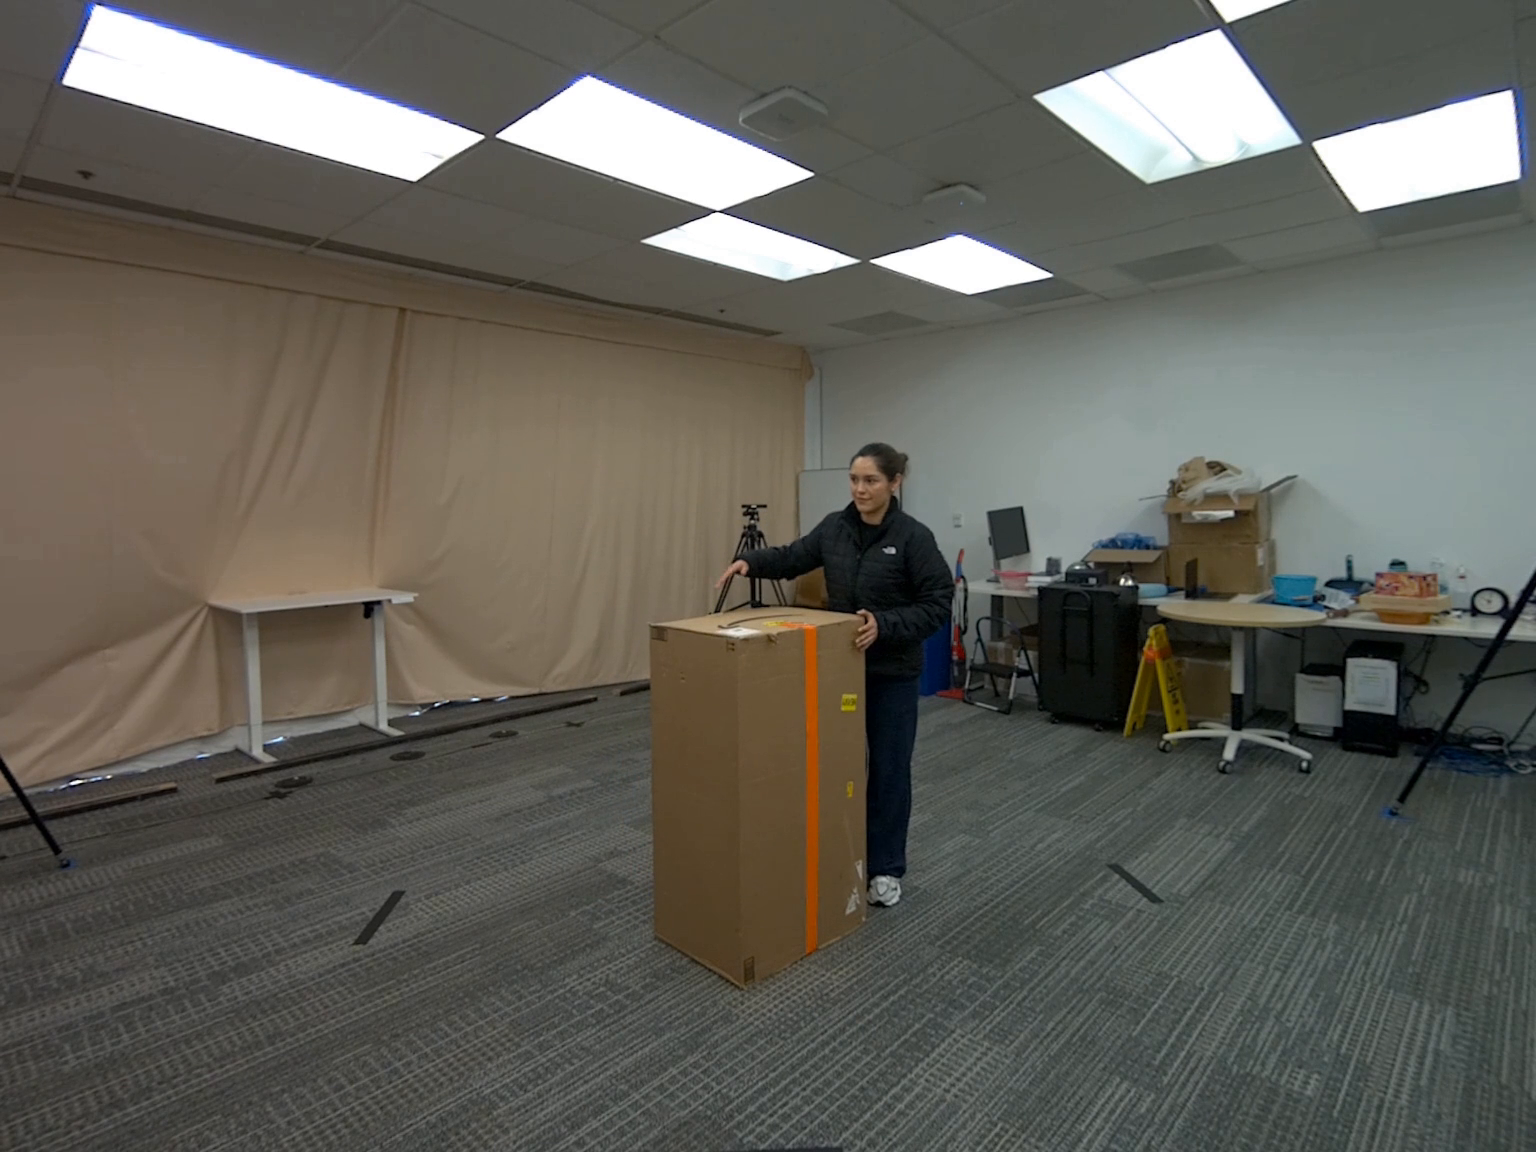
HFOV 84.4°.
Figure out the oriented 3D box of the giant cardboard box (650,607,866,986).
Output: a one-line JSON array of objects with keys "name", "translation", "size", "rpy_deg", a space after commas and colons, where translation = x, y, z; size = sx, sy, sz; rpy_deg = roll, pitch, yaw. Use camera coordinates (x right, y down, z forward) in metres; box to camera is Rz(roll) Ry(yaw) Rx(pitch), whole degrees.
[{"name": "giant cardboard box", "translation": [-0.014, 0.655, 2.730], "size": [0.560, 1.024, 0.440], "rpy_deg": [-4, 4, -44]}]
